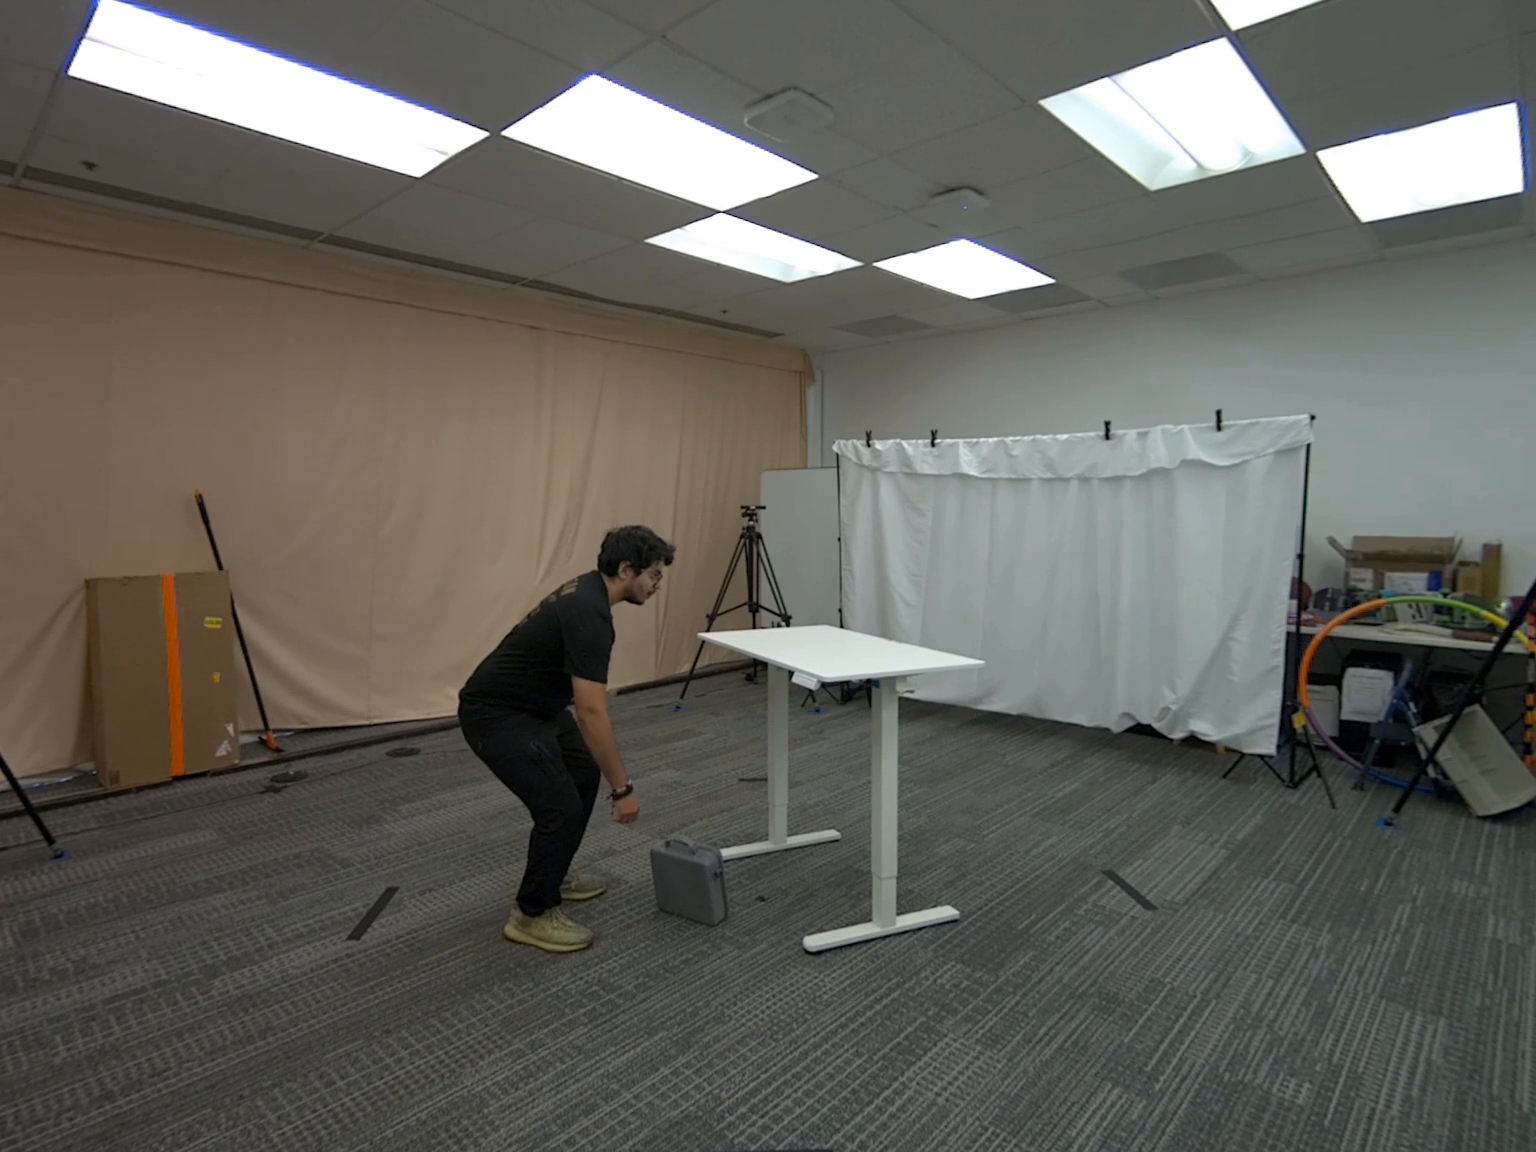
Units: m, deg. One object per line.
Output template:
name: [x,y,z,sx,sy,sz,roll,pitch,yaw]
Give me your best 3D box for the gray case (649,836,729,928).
gray case: [-0.262,1.025,2.846,0.265,0.258,0.102,3,15,34]
